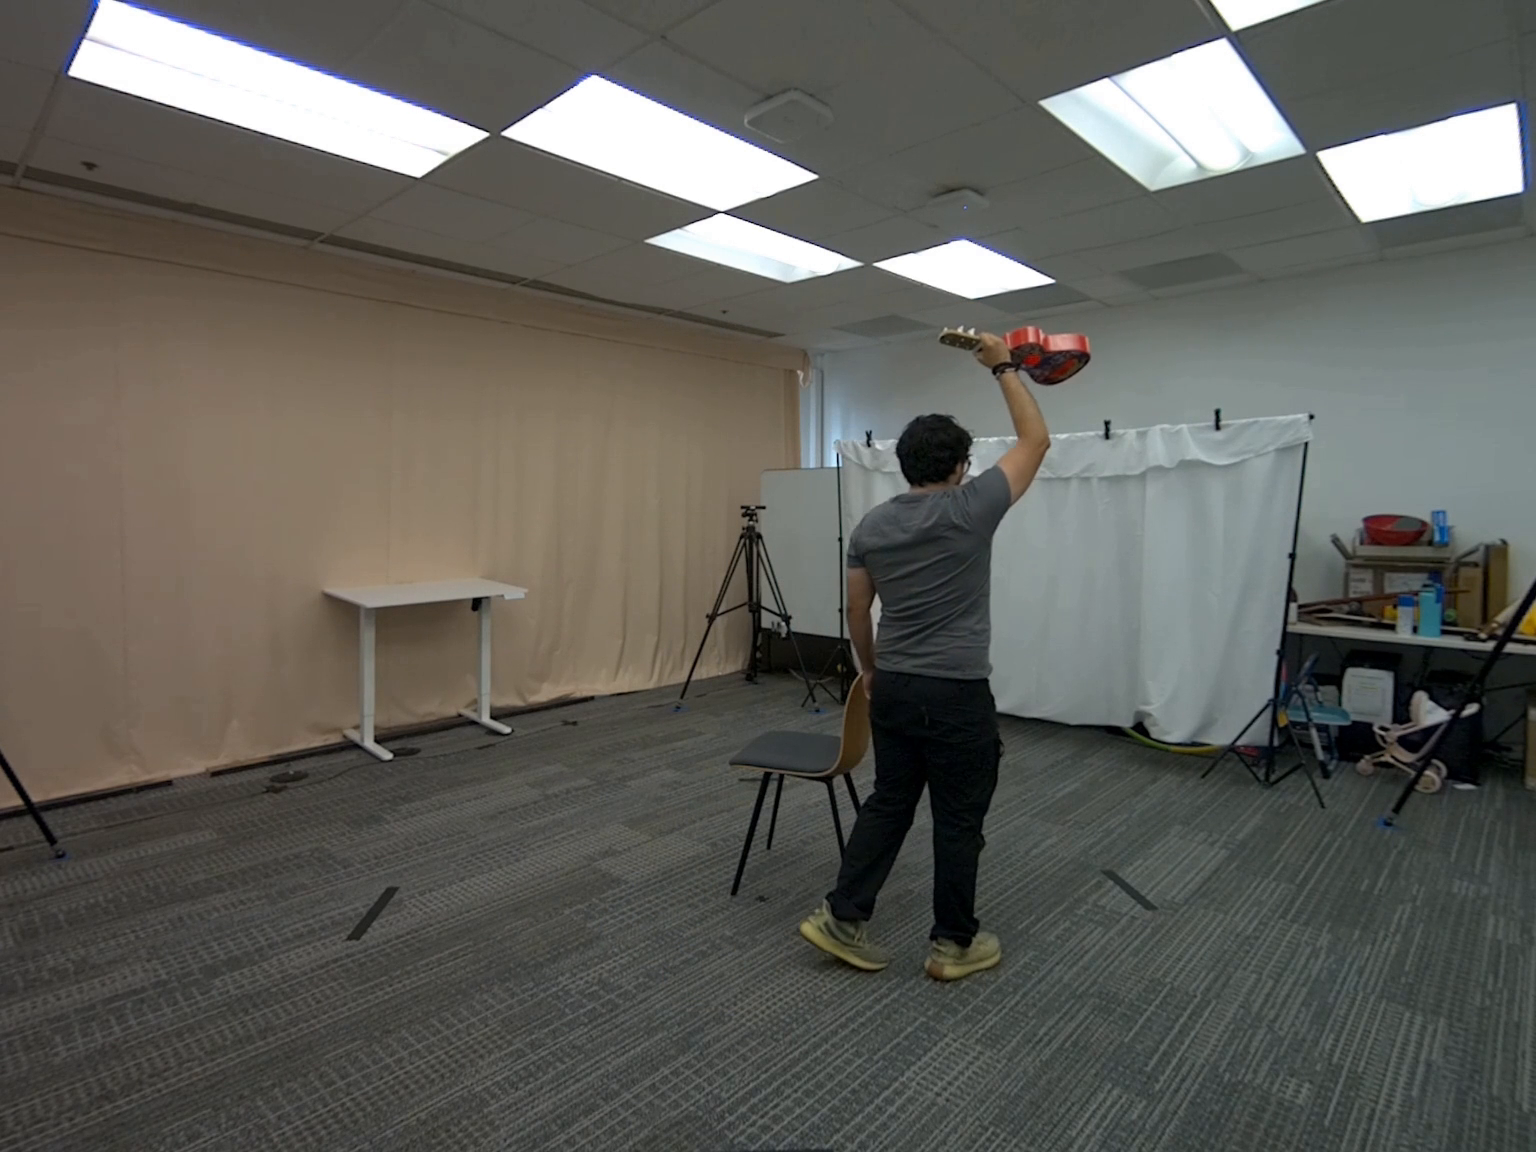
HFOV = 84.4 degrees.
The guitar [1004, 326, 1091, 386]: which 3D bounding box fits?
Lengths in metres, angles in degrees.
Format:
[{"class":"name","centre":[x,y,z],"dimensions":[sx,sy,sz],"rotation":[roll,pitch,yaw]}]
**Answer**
[{"class":"guitar","centre":[0.759,-0.700,2.526],"dimensions":[0.484,0.071,0.196],"rotation":[13,-24,-27]}]
